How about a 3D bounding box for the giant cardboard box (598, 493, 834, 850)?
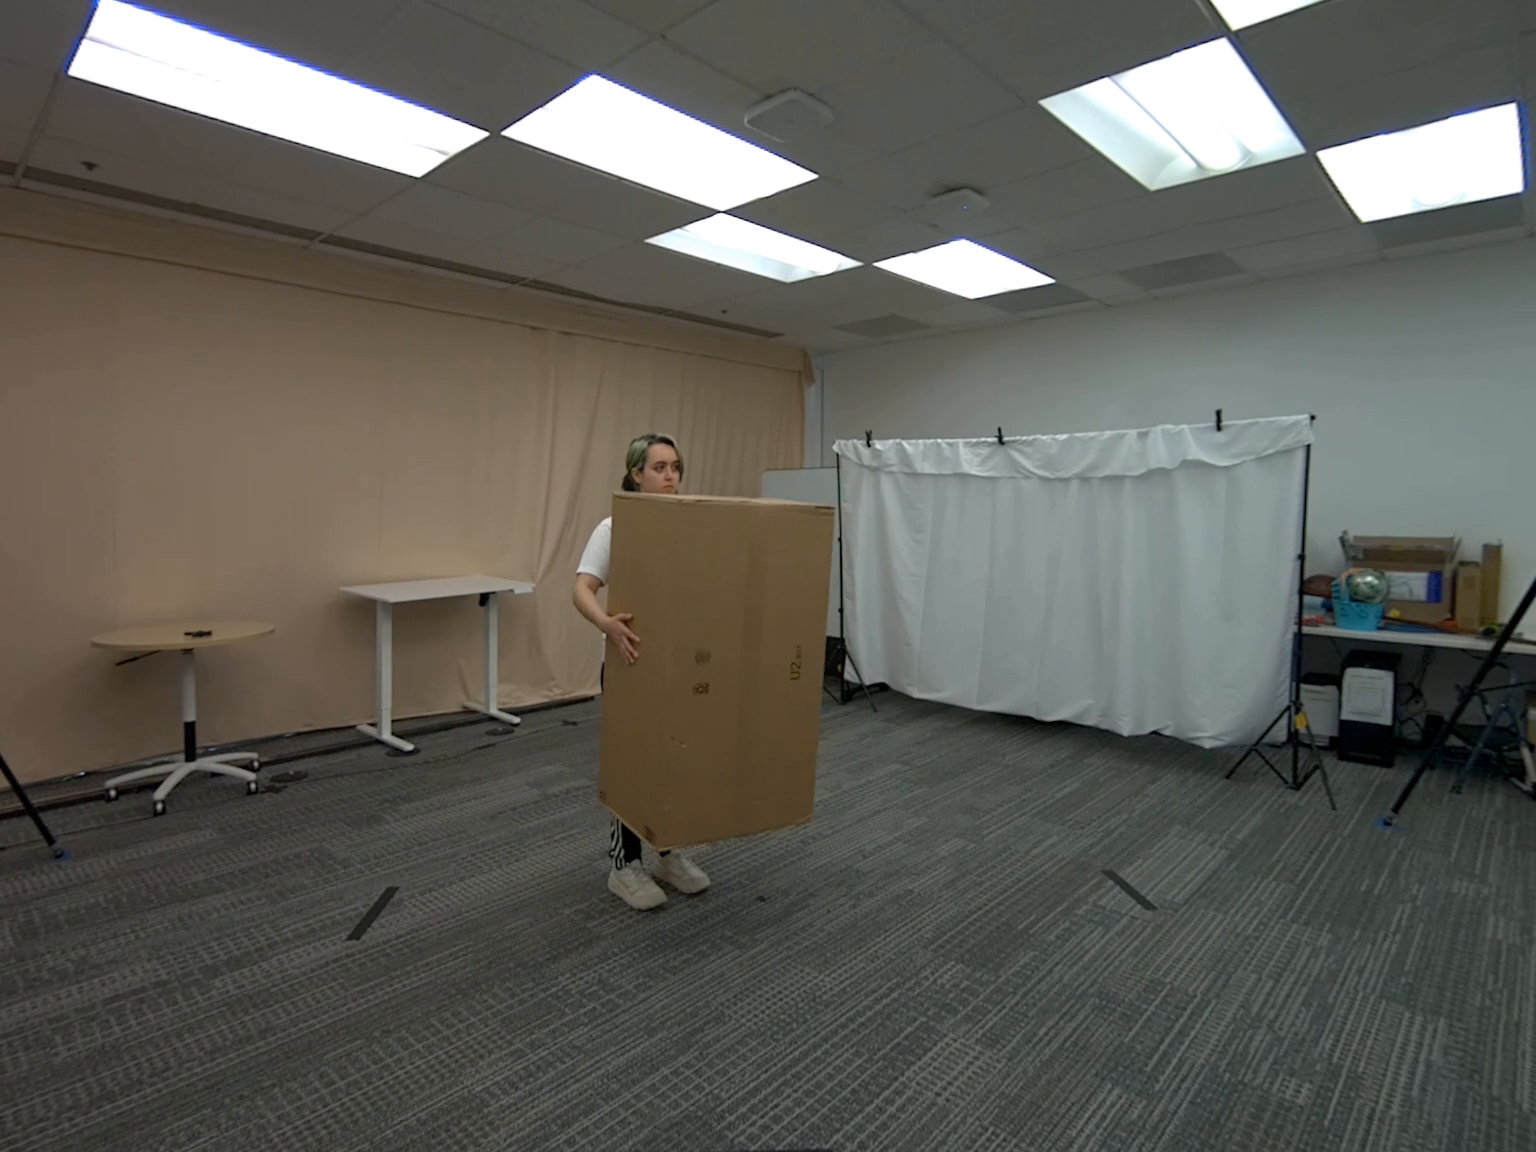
[{"bbox_3d":[-0.173,0.262,2.699,0.561,1.023,0.440,1,6,-34],"label":"giant cardboard box"}]
